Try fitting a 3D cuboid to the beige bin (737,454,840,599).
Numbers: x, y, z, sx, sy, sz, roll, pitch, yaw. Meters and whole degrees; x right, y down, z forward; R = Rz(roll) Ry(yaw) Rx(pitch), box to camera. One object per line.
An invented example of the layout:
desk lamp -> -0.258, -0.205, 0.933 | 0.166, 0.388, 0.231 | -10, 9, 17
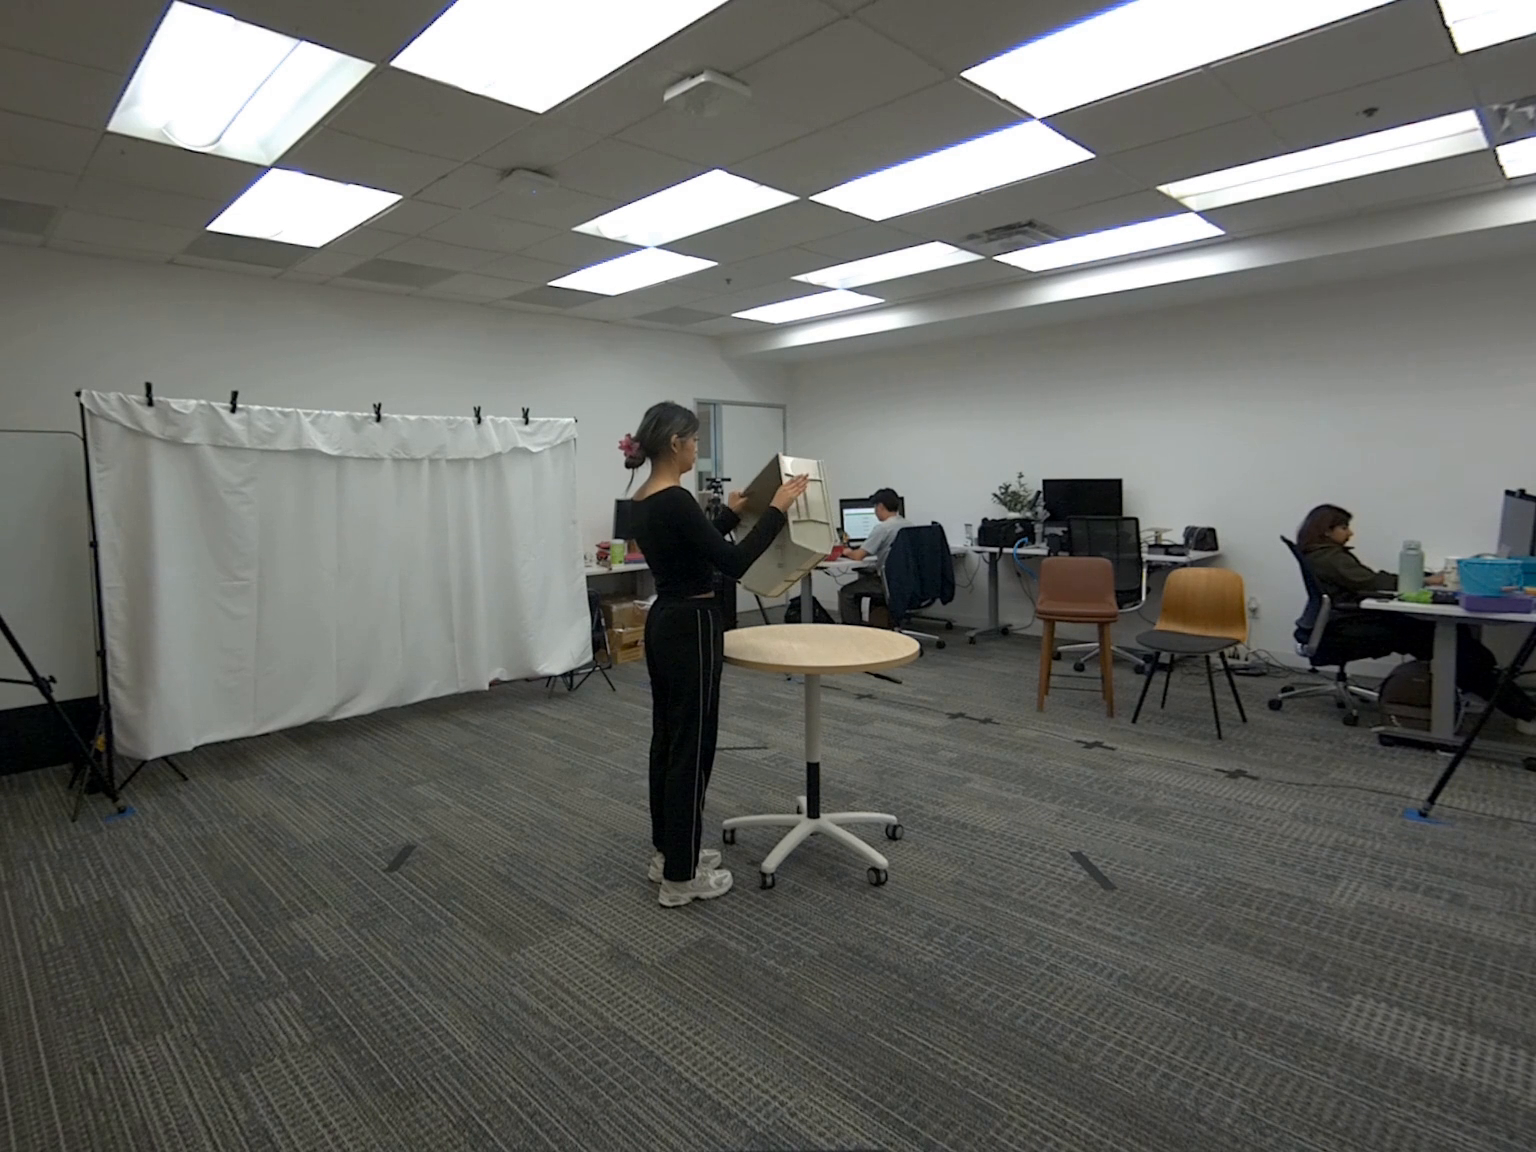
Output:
beige bin -> 0.043, -0.169, 3.052 | 0.185, 0.386, 0.422 | 5, -25, -24
